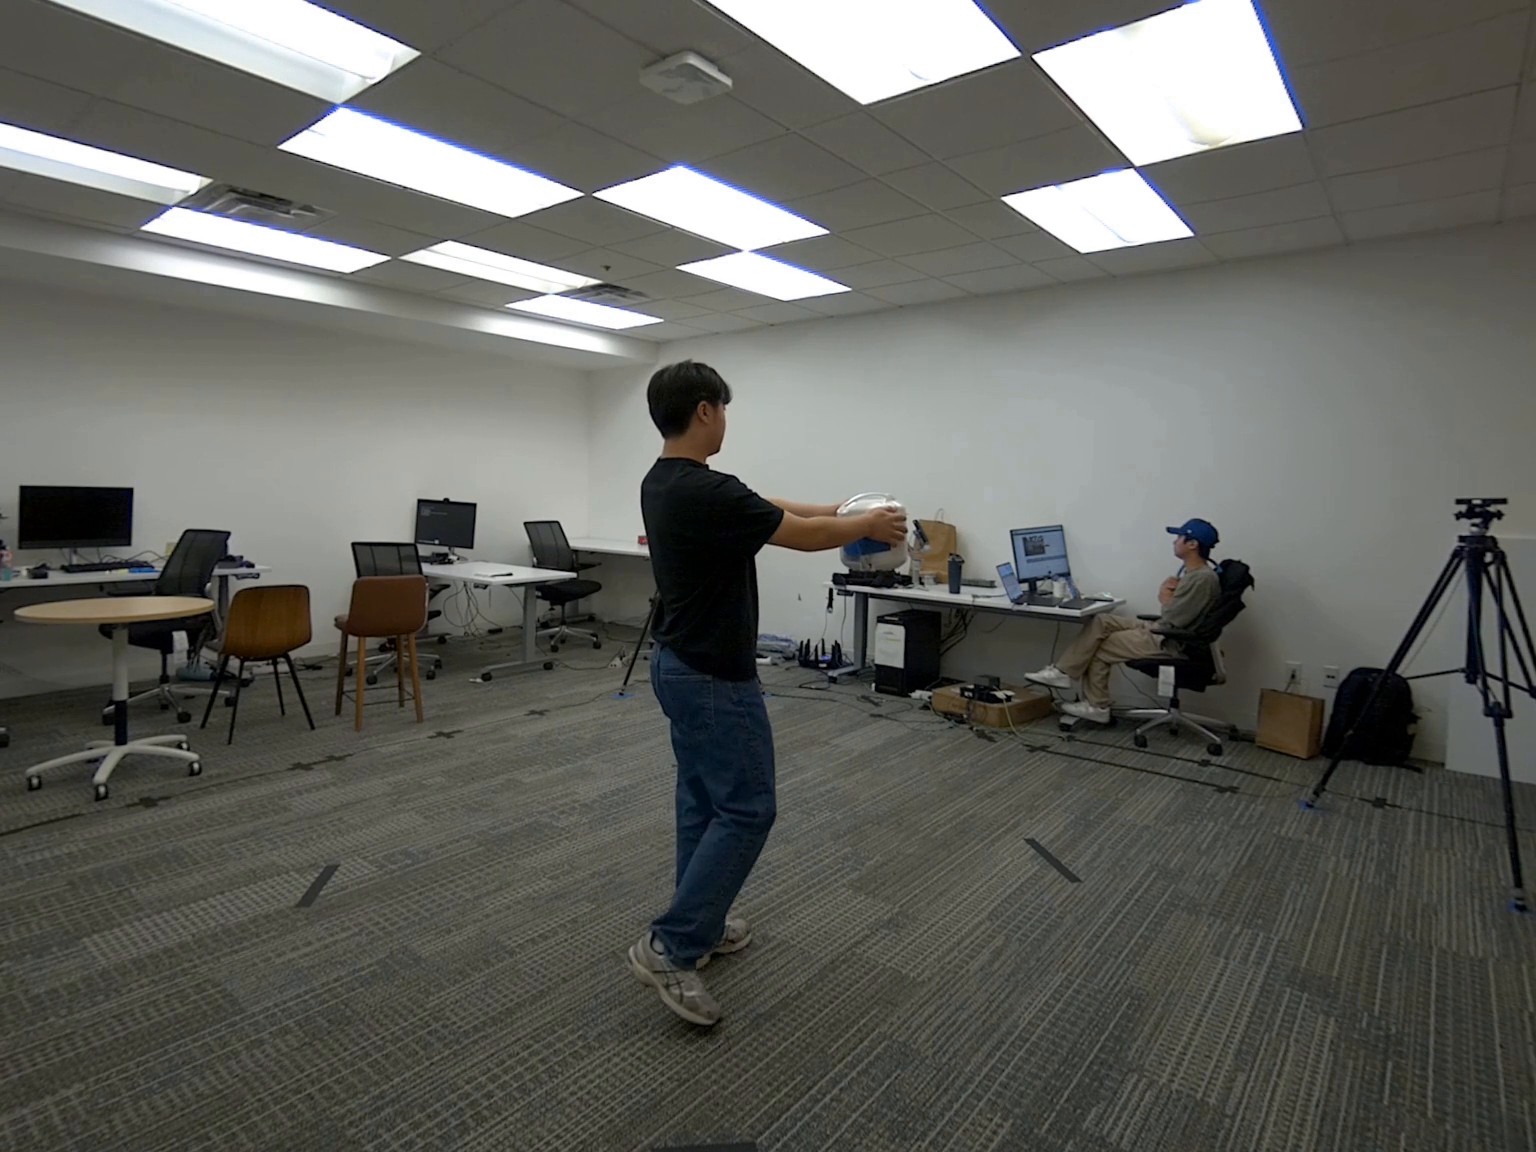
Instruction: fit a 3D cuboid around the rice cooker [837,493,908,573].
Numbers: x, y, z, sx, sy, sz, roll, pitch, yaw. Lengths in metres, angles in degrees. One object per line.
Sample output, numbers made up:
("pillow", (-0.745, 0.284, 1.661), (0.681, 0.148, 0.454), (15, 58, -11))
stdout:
("rice cooker", (0.315, -0.144, 2.635), (0.216, 0.231, 0.223), (-6, 6, -20))
